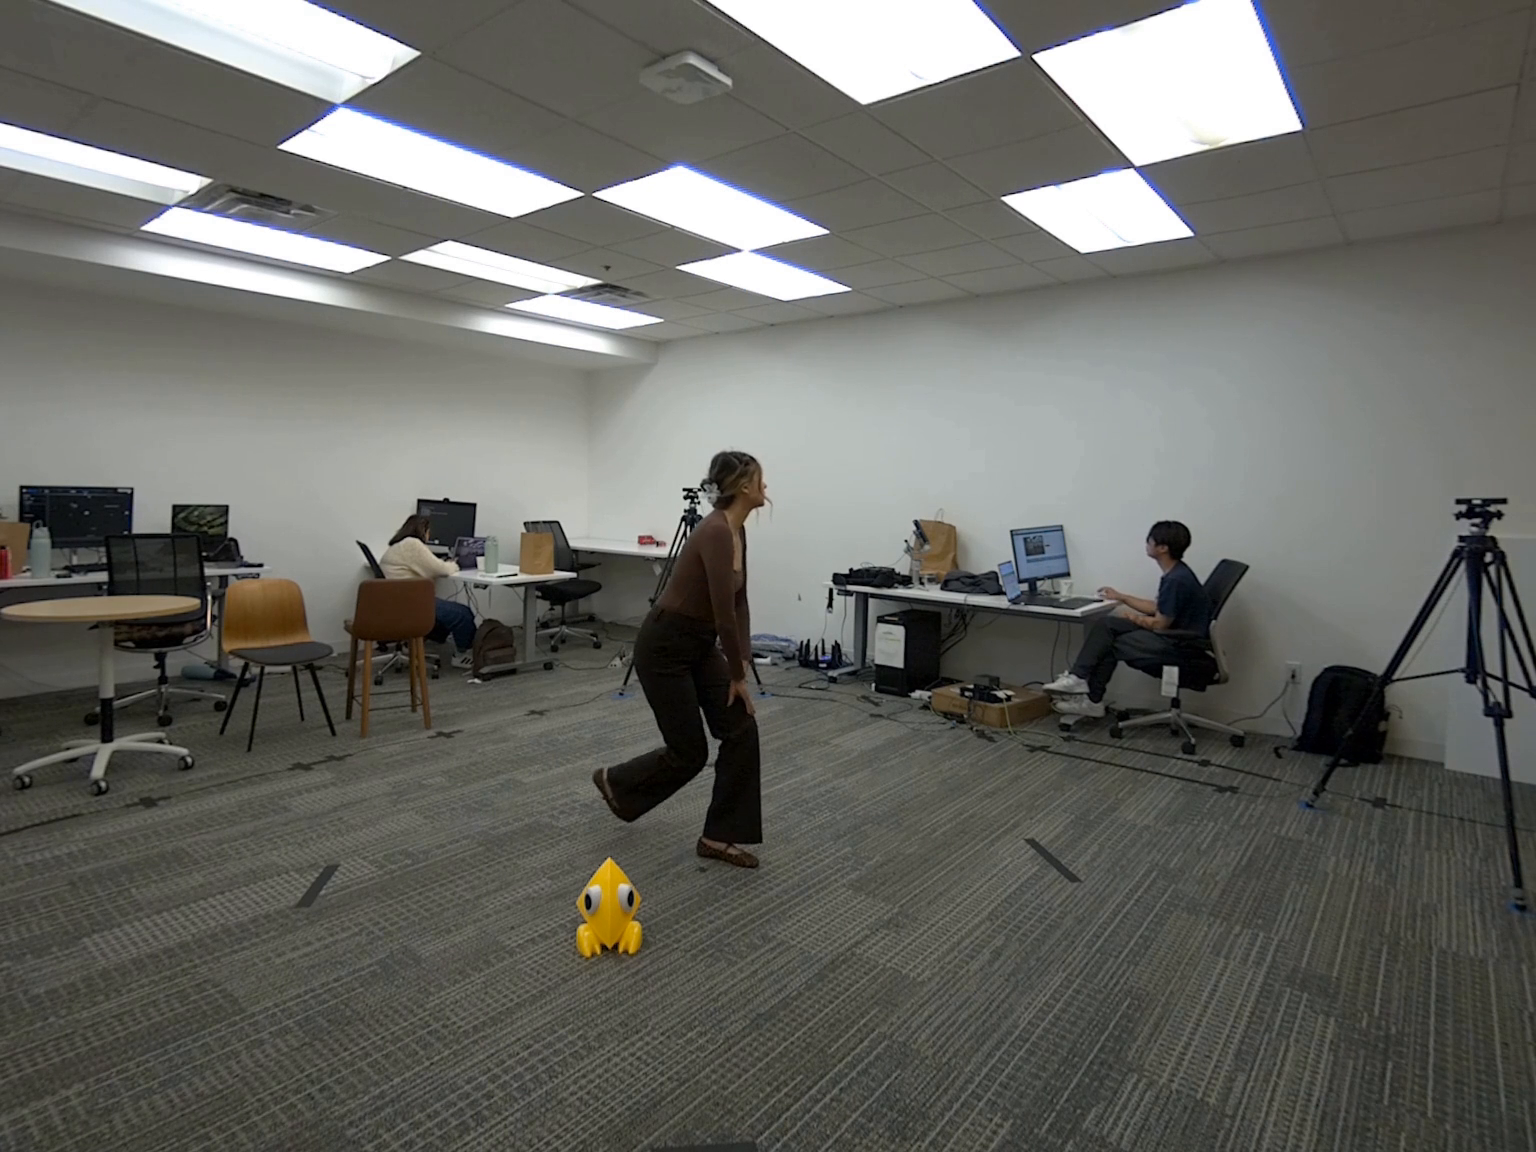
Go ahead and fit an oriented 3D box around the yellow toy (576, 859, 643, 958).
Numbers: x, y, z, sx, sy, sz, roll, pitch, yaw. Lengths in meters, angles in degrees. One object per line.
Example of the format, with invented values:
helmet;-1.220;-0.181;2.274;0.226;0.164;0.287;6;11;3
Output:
yellow toy;-0.495;0.999;2.602;0.203;0.230;0.196;0;4;-10
